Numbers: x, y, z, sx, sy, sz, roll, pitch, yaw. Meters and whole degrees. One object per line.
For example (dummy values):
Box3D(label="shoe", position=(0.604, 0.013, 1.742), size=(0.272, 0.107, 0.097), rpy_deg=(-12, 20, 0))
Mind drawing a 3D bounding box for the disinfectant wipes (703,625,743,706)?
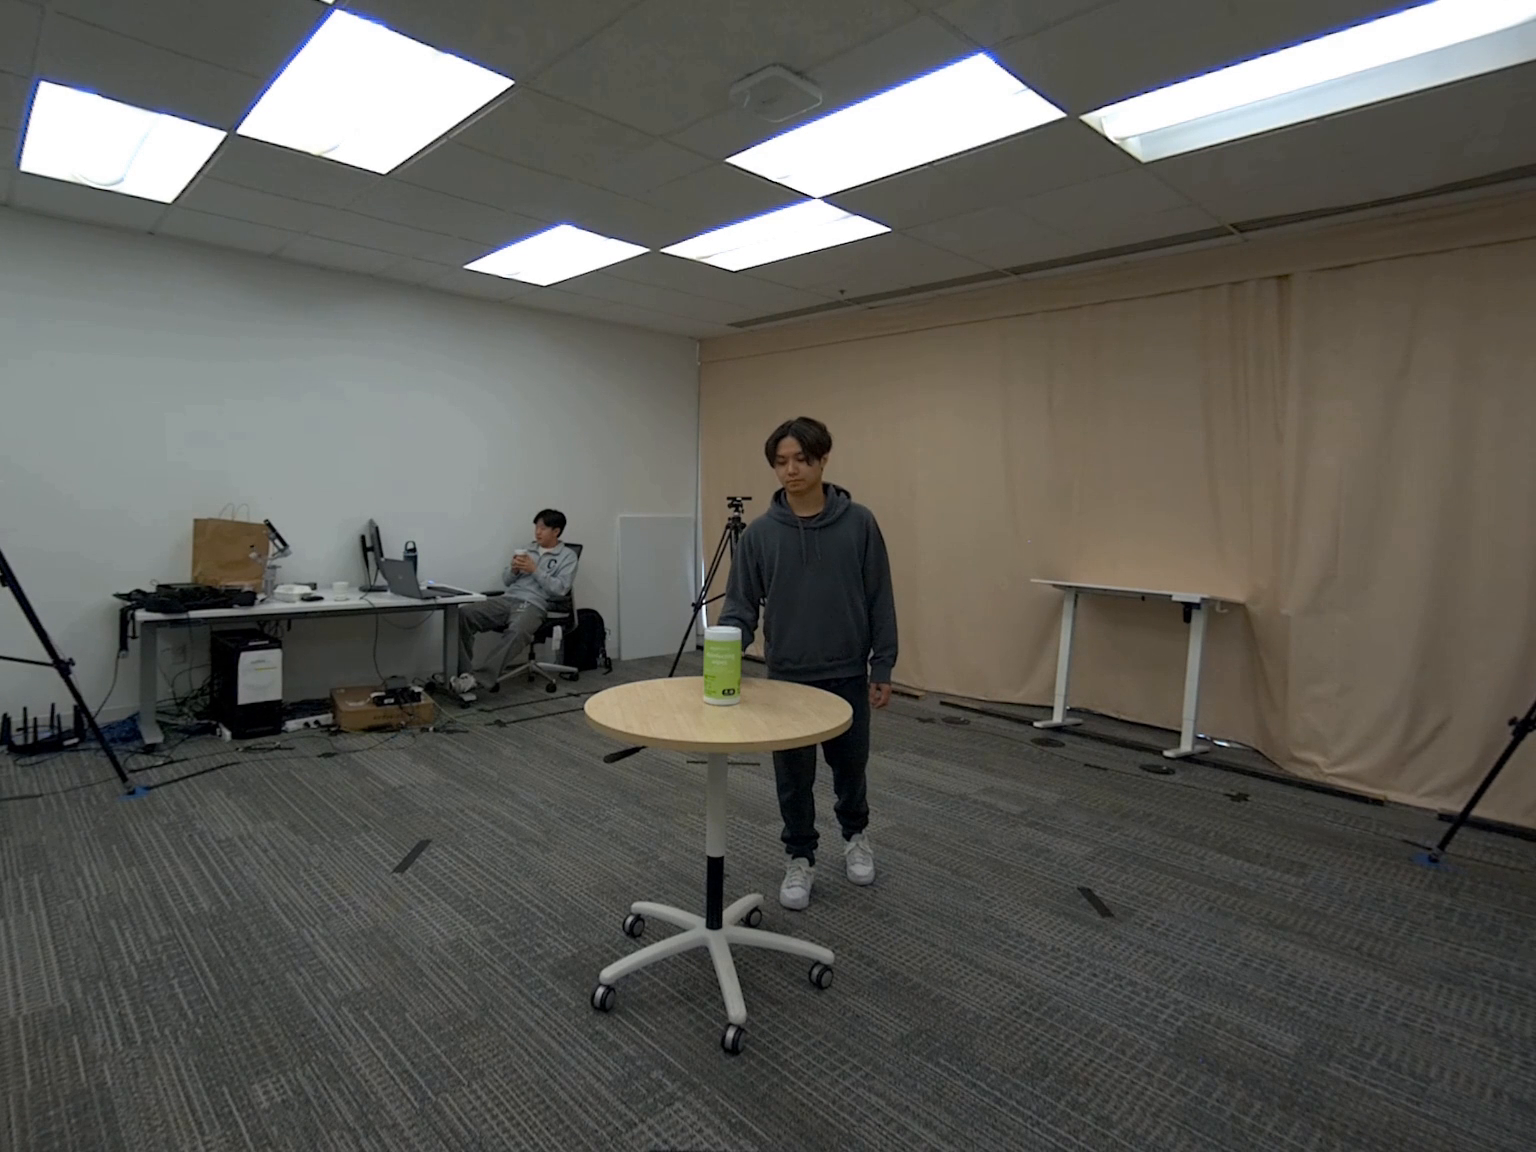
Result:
Box3D(label="disinfectant wipes", position=(-0.147, 0.264, 2.451), size=(0.118, 0.217, 0.118), rpy_deg=(1, 3, -1))
